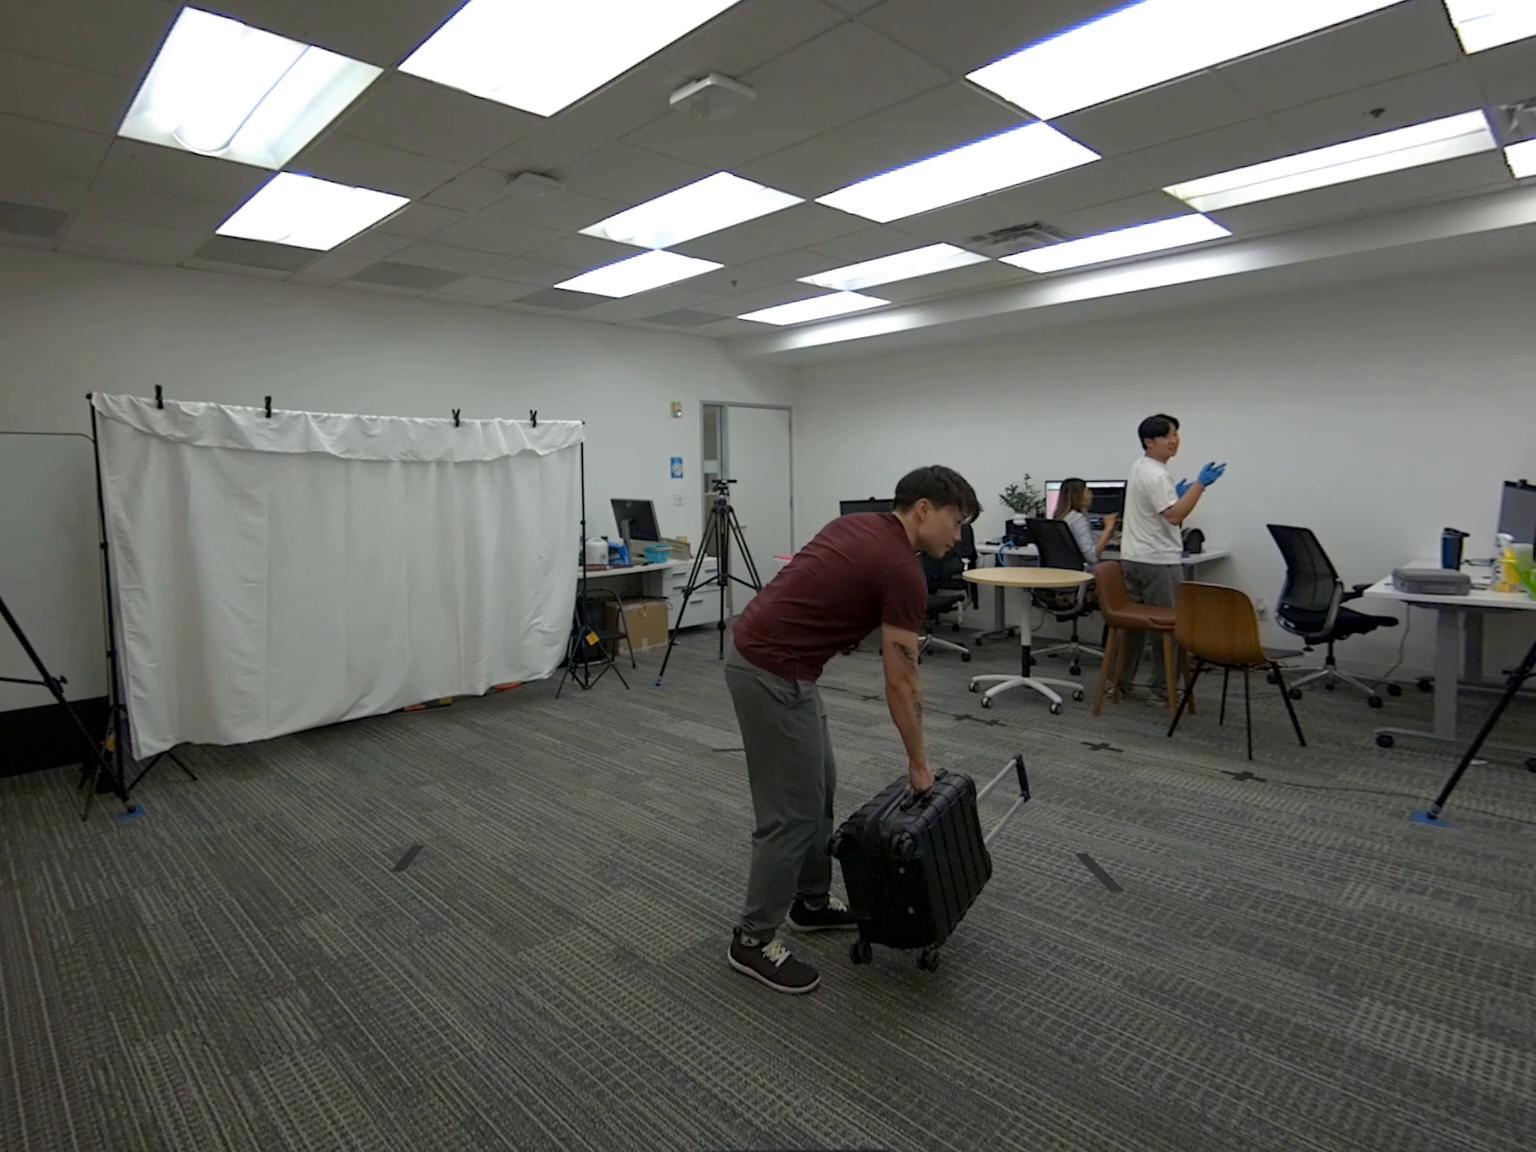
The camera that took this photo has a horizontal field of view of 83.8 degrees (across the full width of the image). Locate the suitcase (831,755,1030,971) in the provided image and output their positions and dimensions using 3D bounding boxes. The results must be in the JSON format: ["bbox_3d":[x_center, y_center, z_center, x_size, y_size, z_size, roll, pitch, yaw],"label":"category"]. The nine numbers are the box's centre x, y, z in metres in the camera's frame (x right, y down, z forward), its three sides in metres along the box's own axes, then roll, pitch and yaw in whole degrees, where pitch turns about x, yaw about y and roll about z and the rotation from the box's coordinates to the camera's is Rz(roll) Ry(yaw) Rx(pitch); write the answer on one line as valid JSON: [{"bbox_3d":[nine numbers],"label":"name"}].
[{"bbox_3d":[0.543,0.776,2.631,0.262,0.384,0.958,-11,2,33],"label":"suitcase"}]
